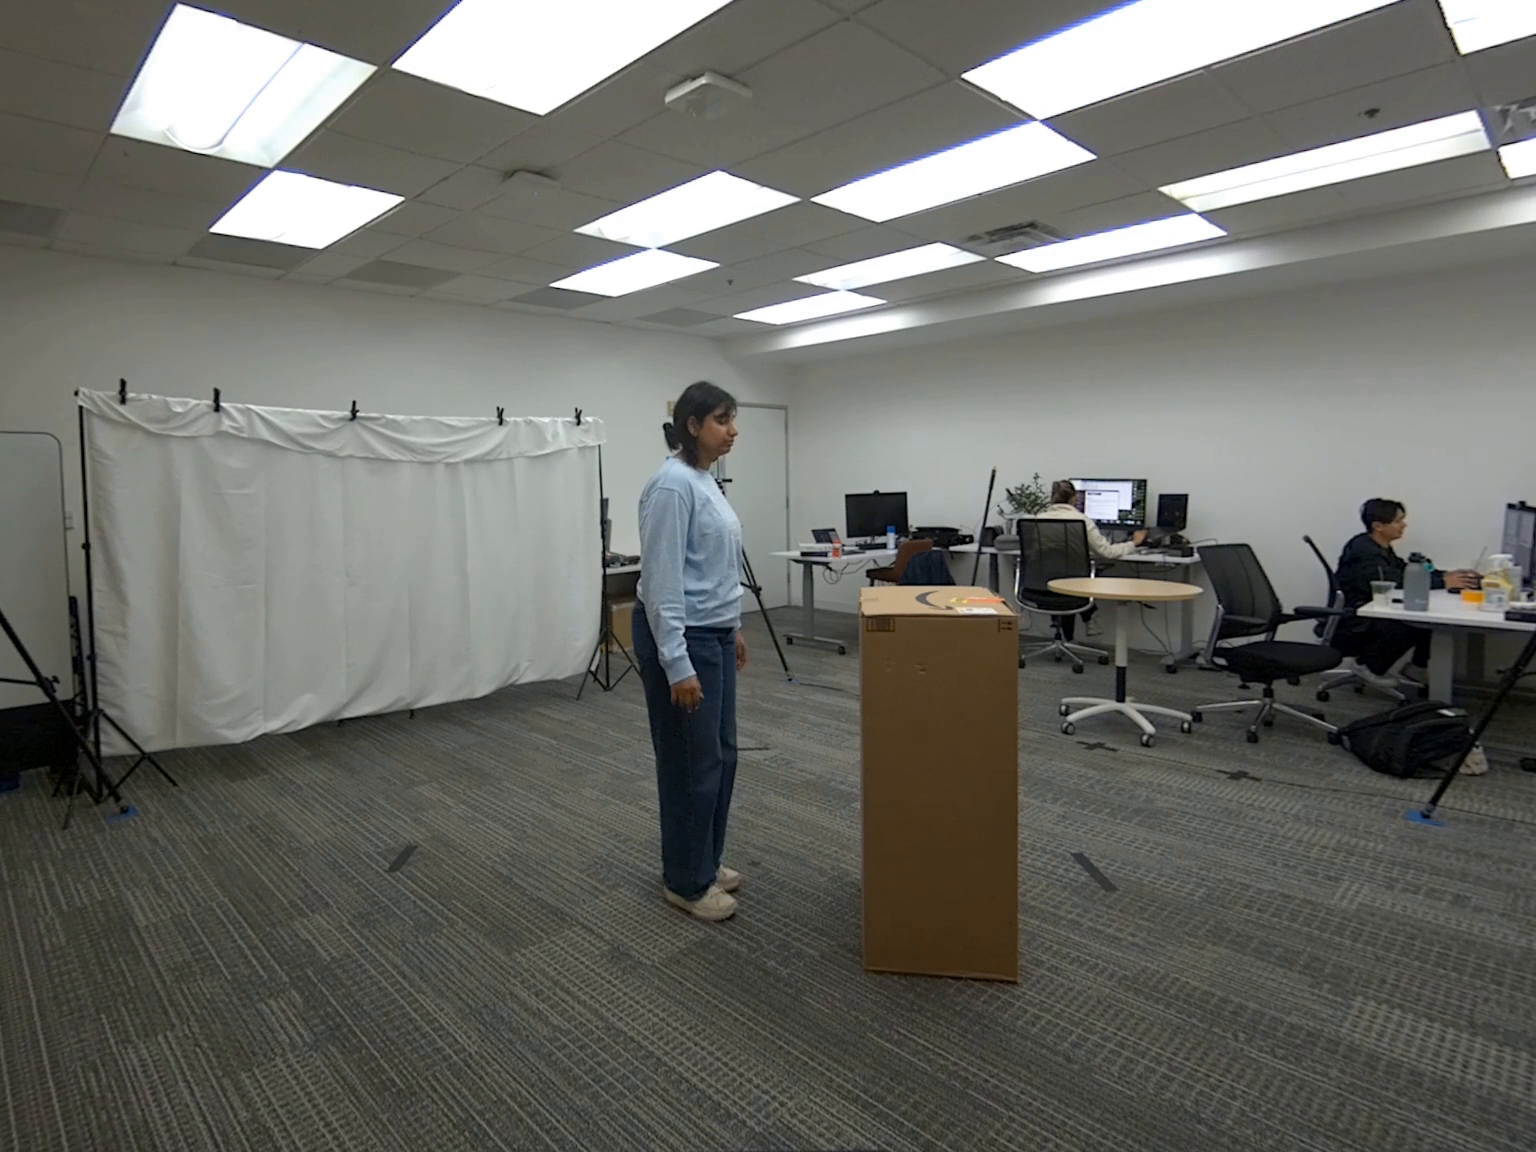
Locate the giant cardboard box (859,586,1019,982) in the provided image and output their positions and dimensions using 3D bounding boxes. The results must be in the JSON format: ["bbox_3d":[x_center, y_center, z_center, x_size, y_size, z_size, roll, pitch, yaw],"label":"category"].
[{"bbox_3d":[0.505,0.578,2.627,0.430,1.022,0.575,0,4,8],"label":"giant cardboard box"}]
